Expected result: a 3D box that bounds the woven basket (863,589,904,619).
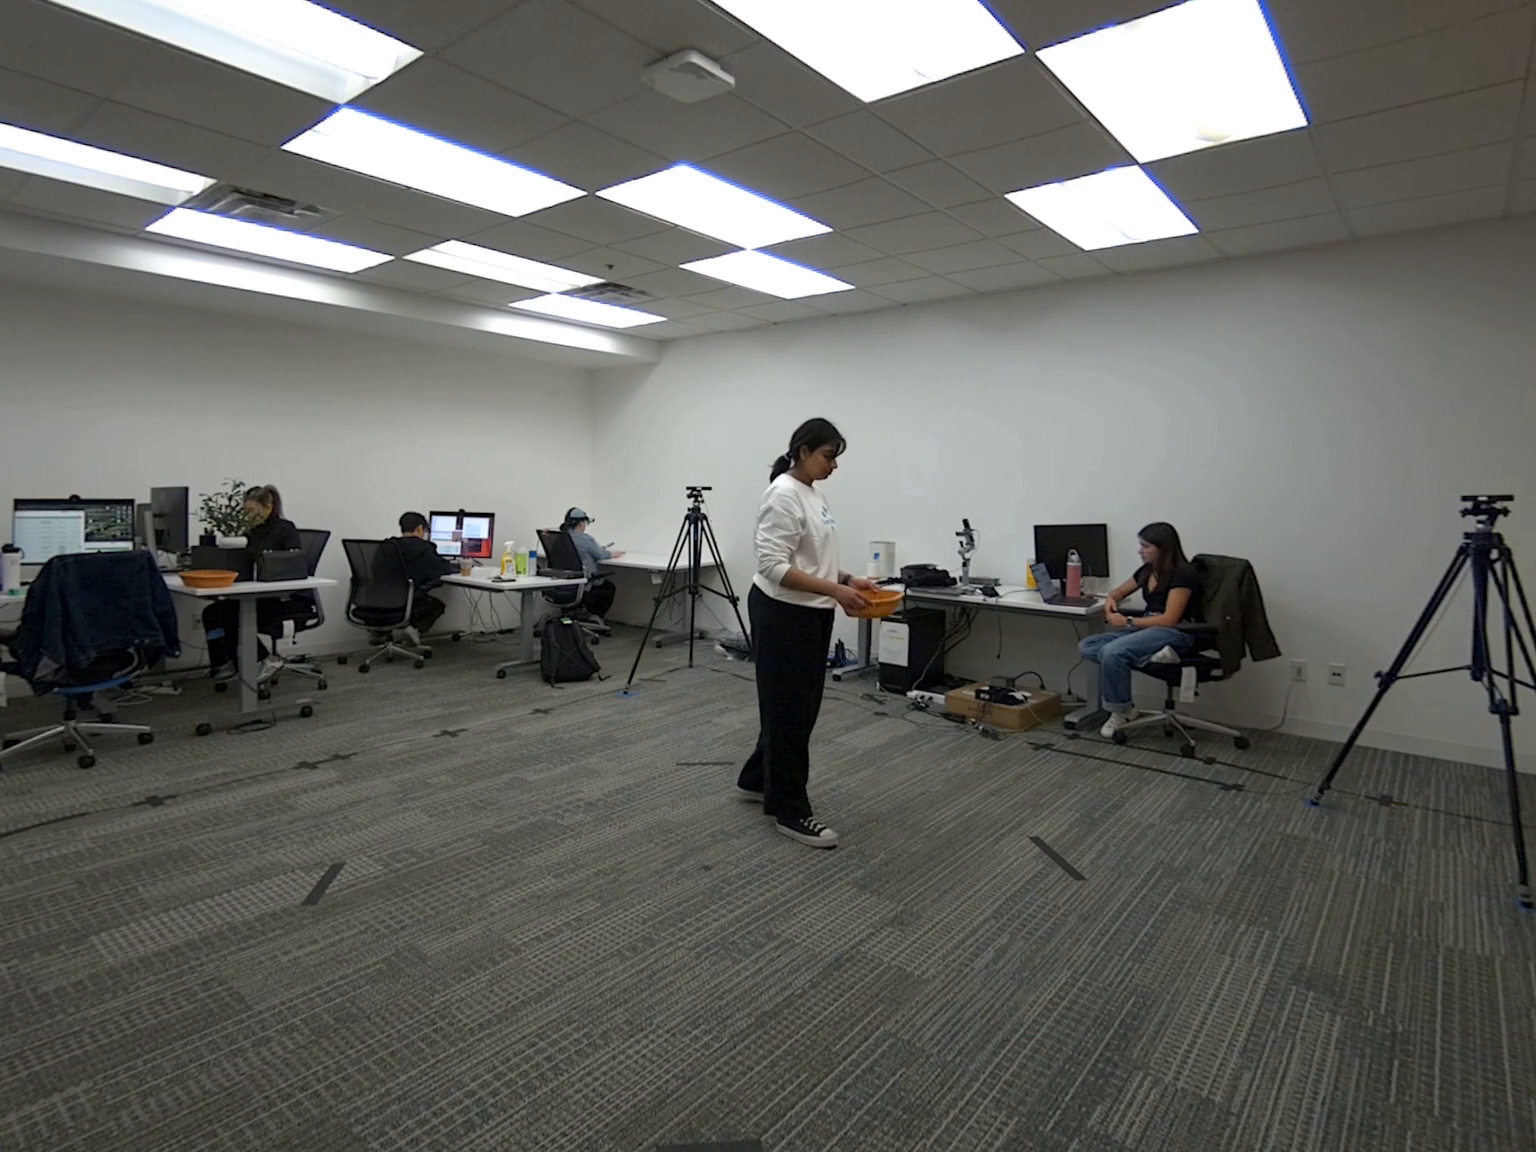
[{"bbox_3d":[0.403,0.116,3.423,0.259,0.073,0.343,3,9,26],"label":"woven basket"}]
